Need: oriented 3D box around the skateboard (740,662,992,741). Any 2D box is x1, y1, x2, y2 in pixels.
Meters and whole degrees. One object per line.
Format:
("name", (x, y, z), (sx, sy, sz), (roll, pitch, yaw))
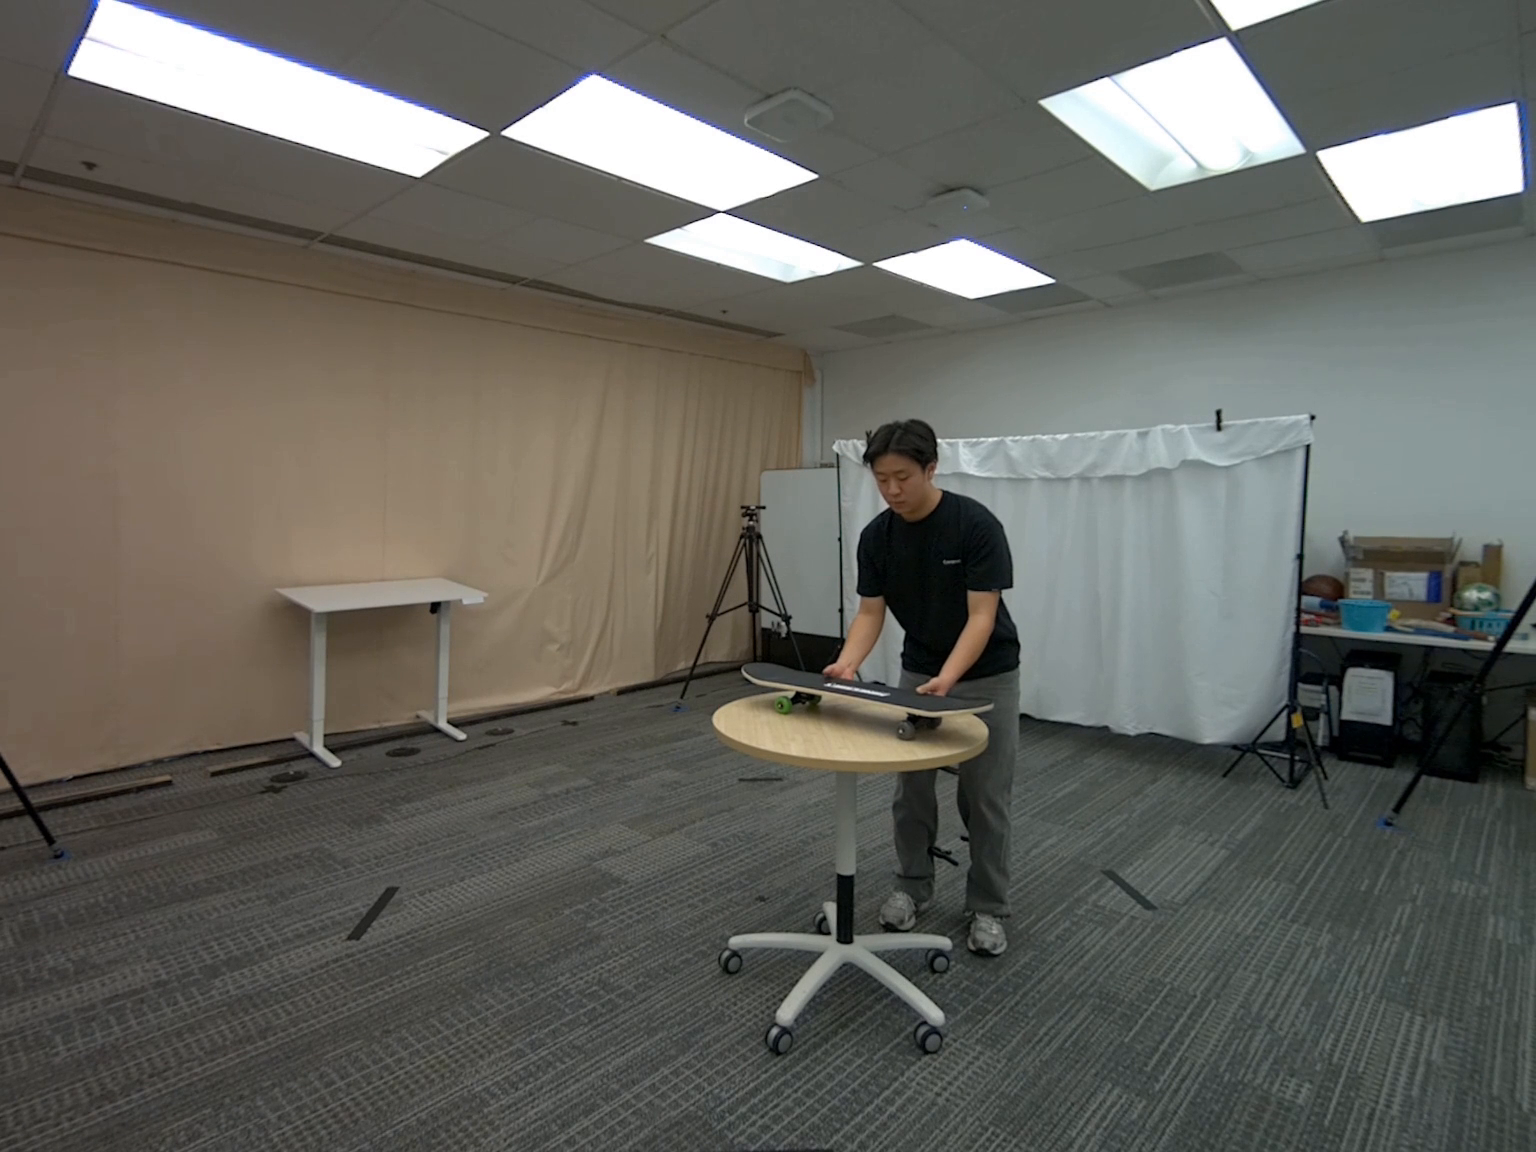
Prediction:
("skateboard", (0.248, 0.361, 2.372), (0.812, 0.110, 0.188), (5, 8, 42))
